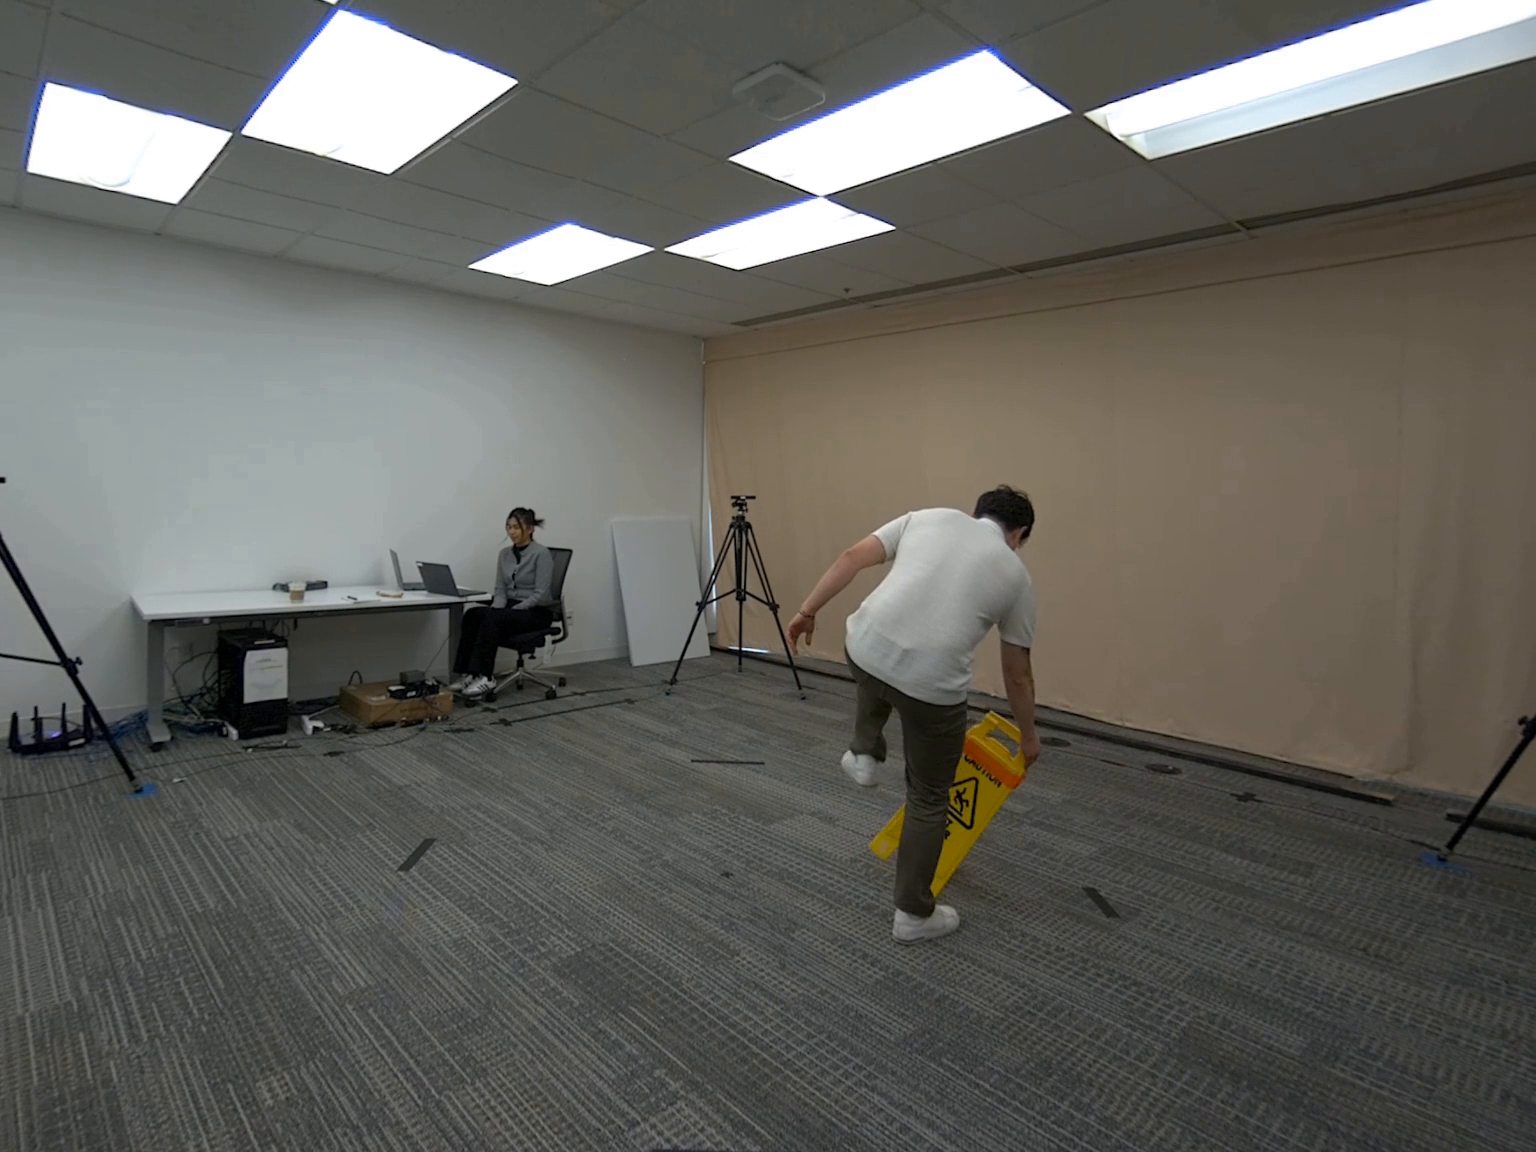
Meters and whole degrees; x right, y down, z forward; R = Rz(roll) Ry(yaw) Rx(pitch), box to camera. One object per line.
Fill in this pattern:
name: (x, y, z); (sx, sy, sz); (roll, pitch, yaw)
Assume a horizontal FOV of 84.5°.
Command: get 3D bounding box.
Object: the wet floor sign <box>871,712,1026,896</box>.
wet floor sign: (0.684, 0.789, 3.030); (0.288, 0.644, 0.284); (38, 16, 20)
